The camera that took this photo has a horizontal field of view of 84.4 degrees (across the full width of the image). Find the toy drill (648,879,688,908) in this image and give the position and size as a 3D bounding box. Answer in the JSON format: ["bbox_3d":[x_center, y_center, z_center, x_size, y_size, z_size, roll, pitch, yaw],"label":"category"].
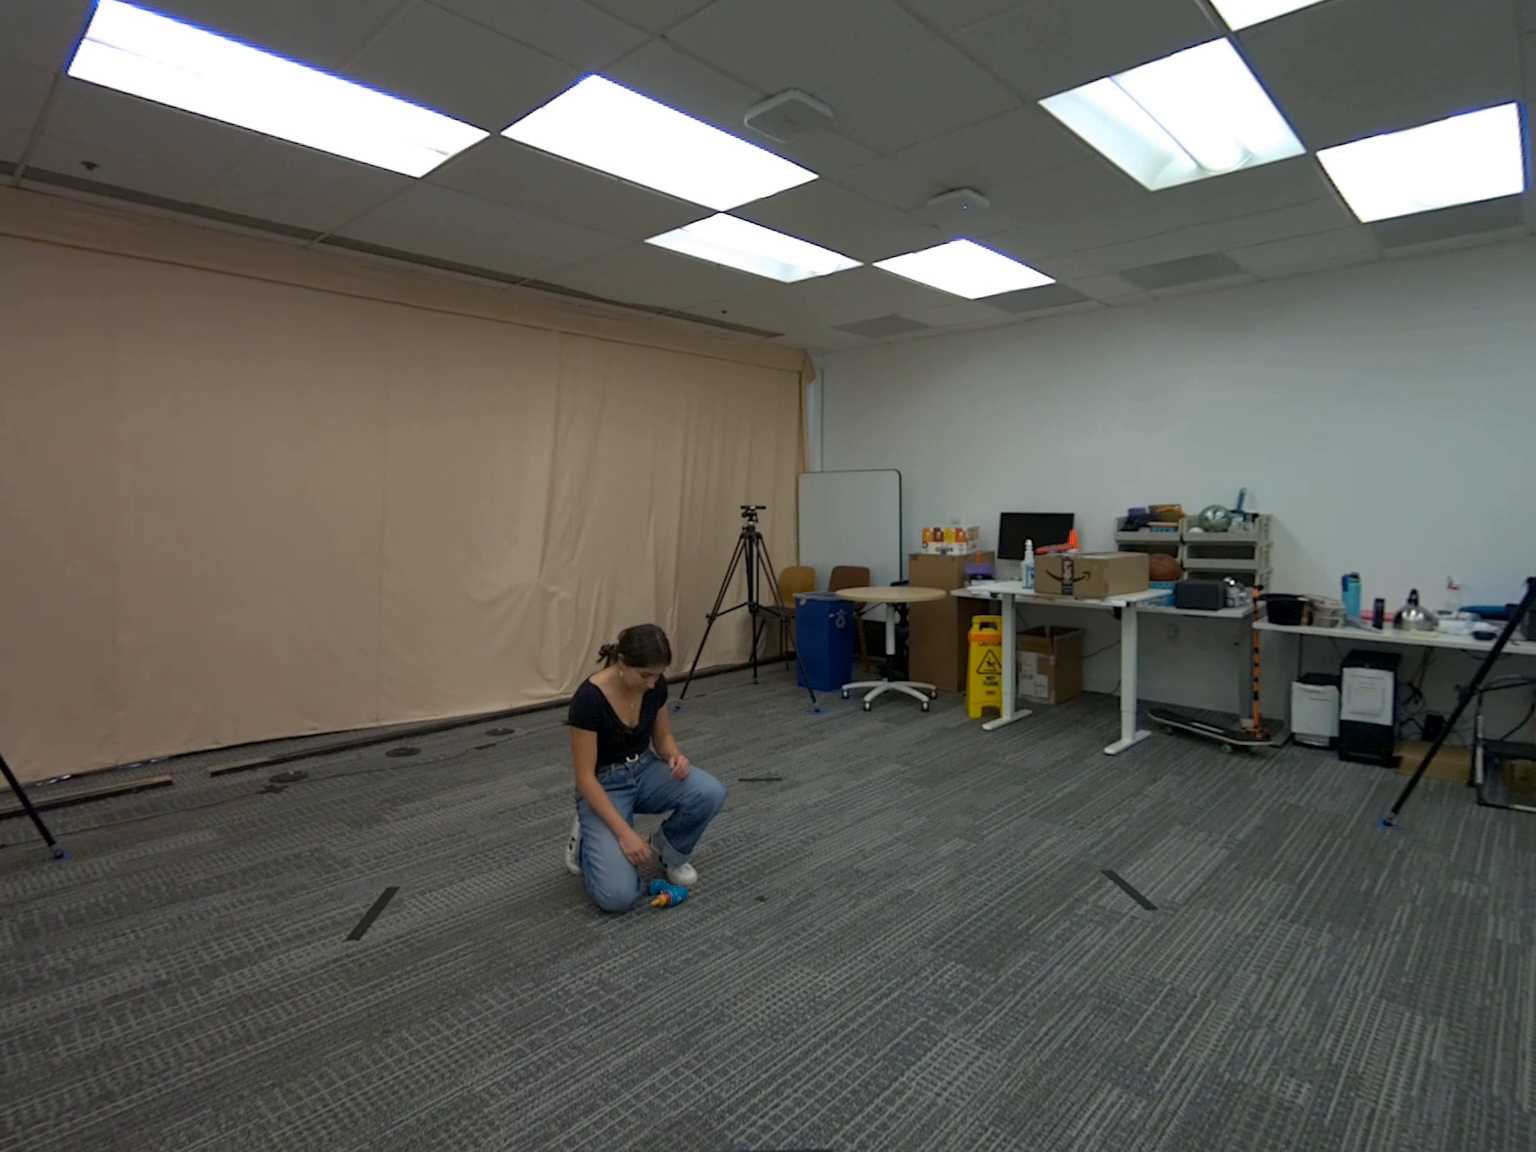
[{"bbox_3d":[-0.379,1.115,2.956,0.151,0.061,0.164,5,3,40],"label":"toy drill"}]
